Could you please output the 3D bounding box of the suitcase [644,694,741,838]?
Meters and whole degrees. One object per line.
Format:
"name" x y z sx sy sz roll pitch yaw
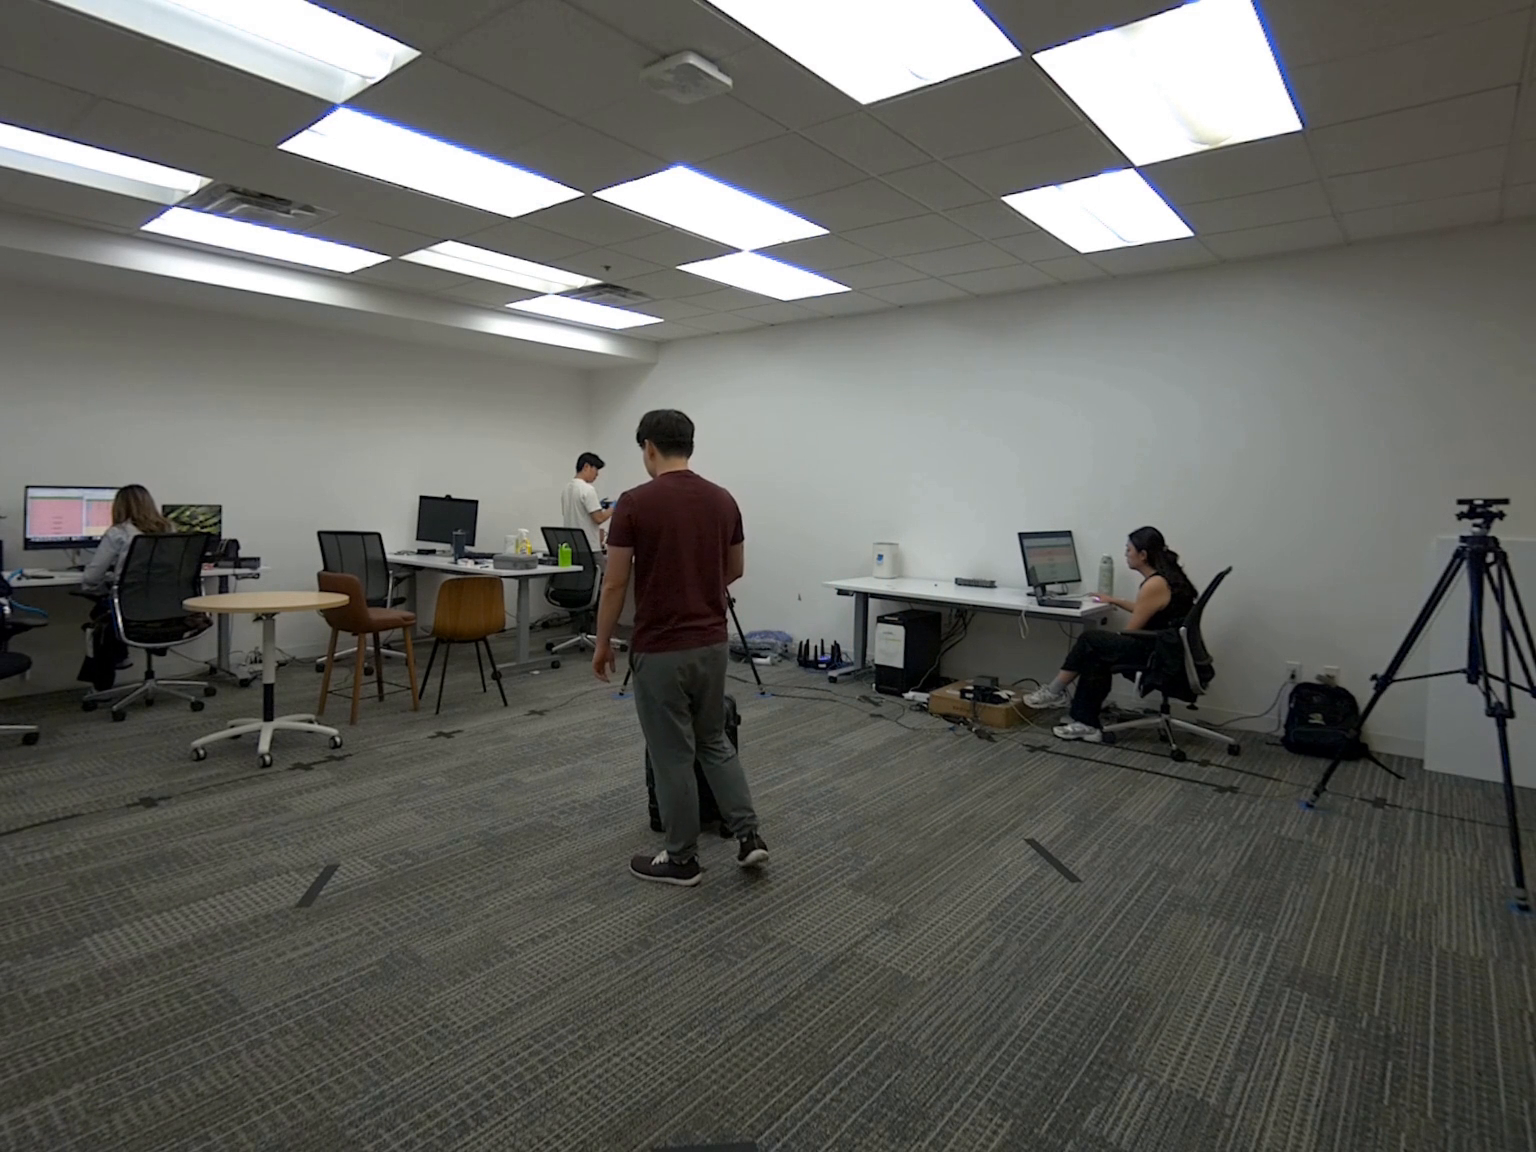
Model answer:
"suitcase" -0.320 0.549 3.530 0.387 0.978 0.255 0 0 6
